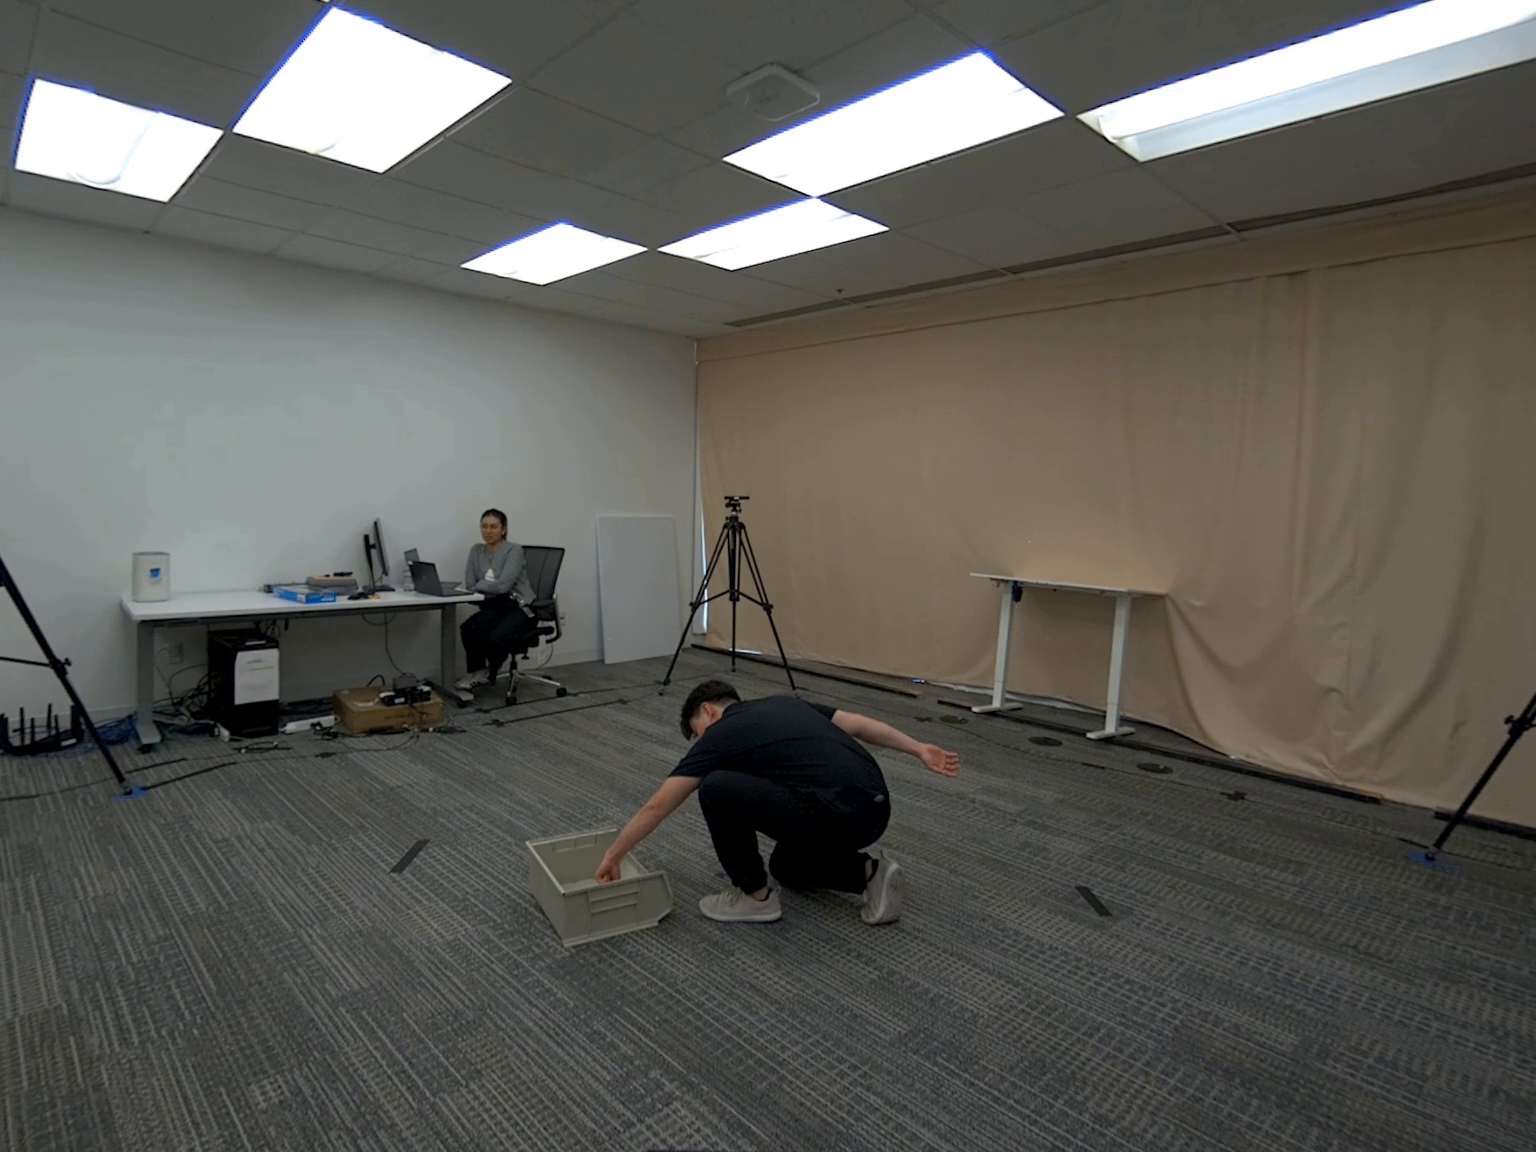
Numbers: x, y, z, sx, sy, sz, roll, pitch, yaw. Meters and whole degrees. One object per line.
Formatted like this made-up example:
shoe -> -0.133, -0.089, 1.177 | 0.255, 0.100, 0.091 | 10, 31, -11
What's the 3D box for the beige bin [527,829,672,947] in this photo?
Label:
beige bin -> -0.575, 1.024, 2.839 | 0.370, 0.188, 0.432 | -2, 7, -30
